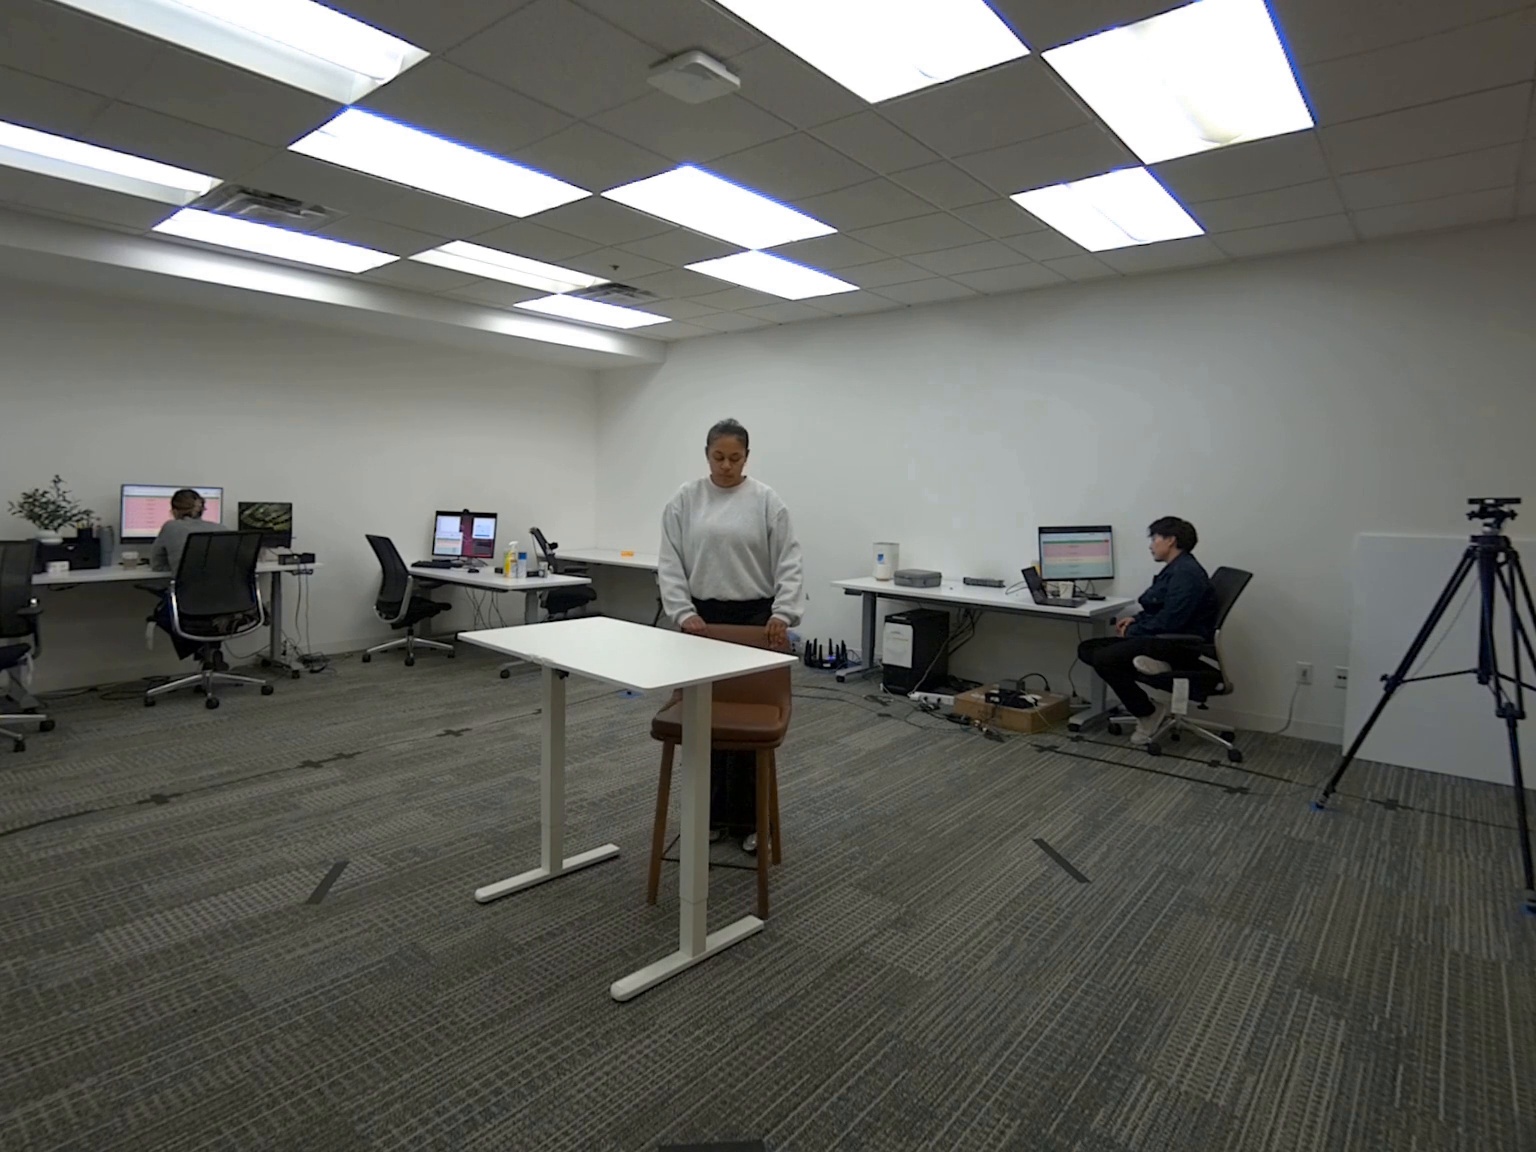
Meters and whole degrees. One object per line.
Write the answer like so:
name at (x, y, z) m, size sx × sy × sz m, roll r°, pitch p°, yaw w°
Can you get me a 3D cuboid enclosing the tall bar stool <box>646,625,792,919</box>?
tall bar stool at (-0.160, 0.639, 2.984) m, size 0.463 × 0.890 × 0.461 m, roll 2°, pitch 0°, yaw 11°
